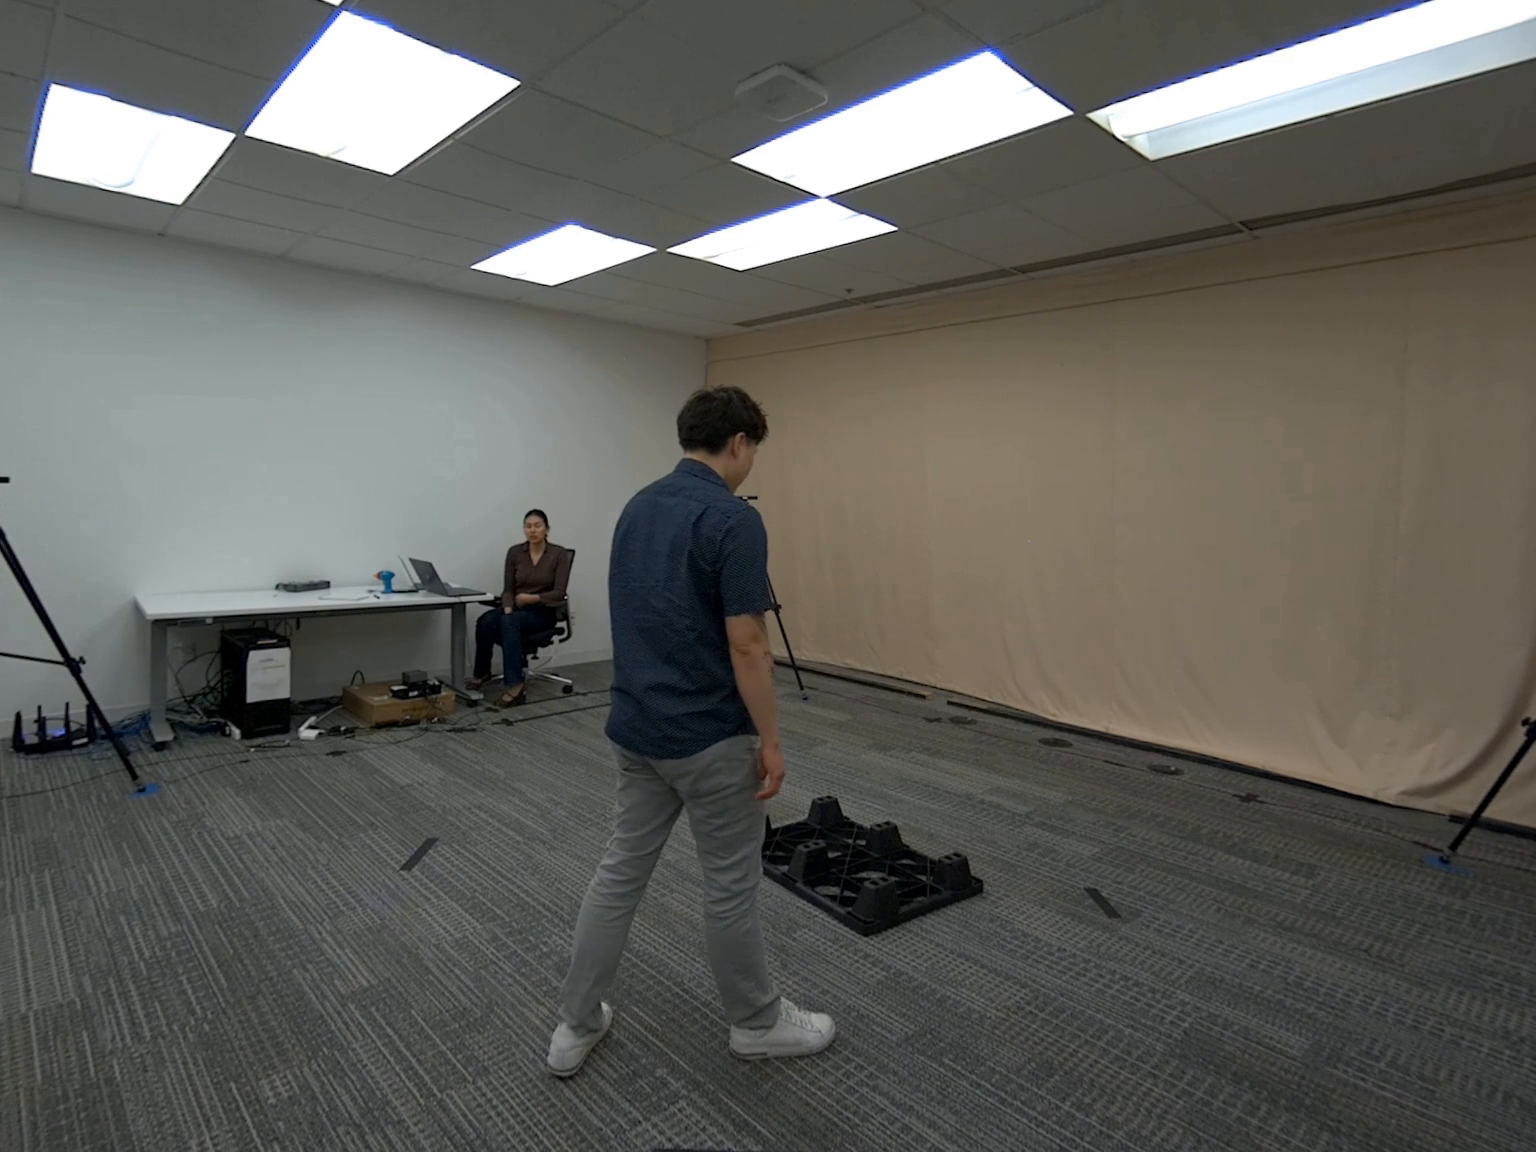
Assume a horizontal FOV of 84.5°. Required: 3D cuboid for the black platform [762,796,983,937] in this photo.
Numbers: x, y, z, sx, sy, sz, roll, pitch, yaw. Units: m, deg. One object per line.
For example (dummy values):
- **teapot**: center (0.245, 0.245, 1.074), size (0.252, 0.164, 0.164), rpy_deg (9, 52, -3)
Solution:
- **black platform**: center (0.301, 1.042, 3.167), size (0.592, 0.143, 0.826), rpy_deg (-3, 7, -37)
